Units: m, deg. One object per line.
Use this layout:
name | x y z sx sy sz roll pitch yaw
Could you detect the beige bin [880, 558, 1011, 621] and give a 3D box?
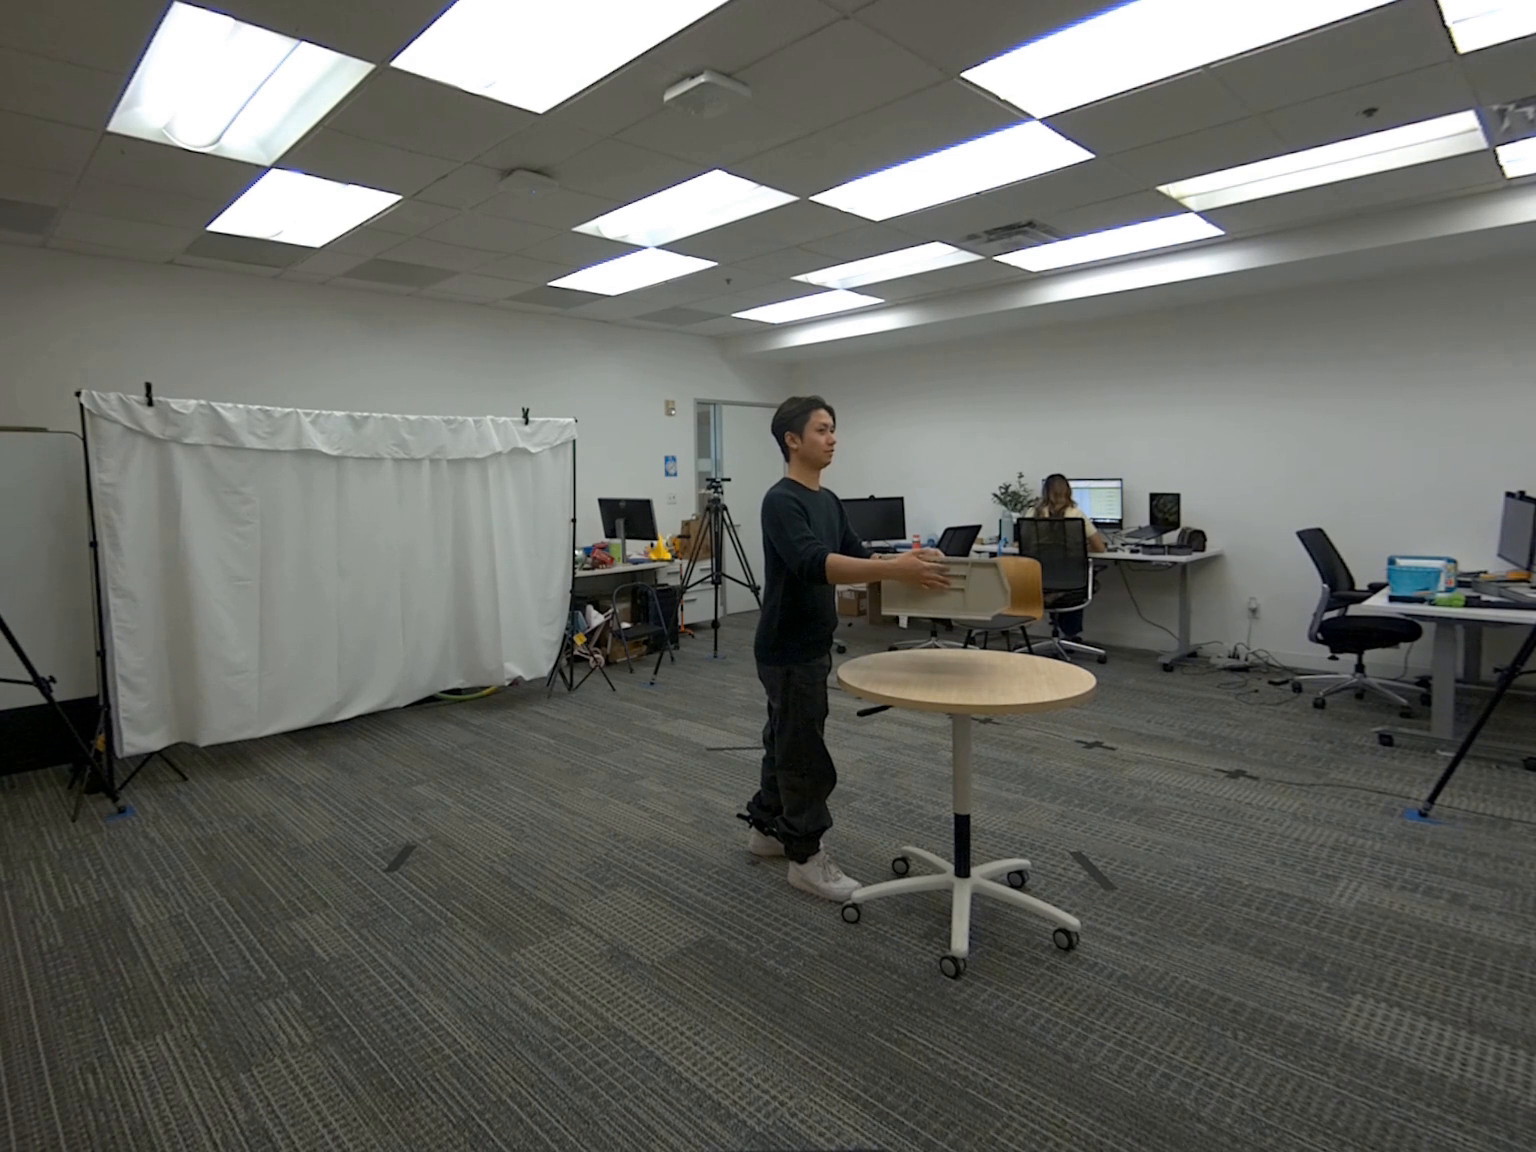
beige bin | 0.562 0.035 2.695 0.382 0.189 0.418 1 2 11
